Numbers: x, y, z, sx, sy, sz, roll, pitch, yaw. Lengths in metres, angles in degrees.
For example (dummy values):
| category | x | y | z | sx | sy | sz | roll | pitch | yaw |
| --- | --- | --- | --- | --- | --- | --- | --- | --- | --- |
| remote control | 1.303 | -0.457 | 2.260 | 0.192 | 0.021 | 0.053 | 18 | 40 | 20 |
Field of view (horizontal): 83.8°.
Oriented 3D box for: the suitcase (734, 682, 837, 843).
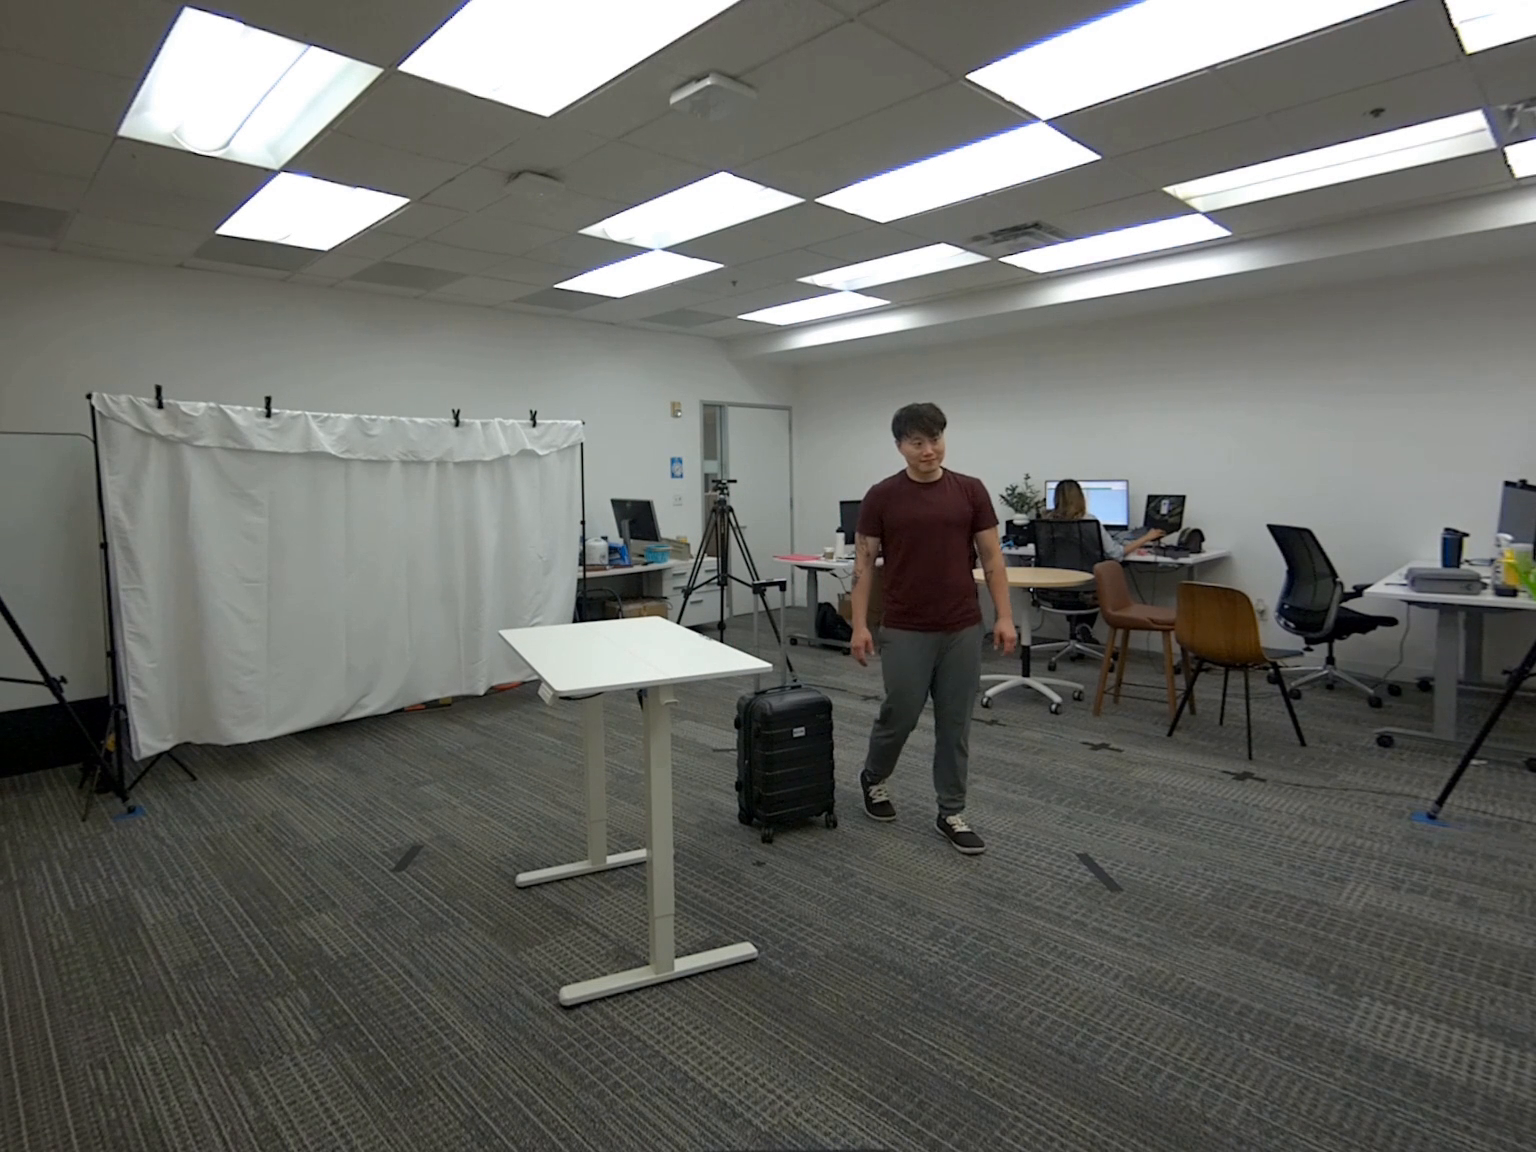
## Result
| category | x | y | z | sx | sy | sz | roll | pitch | yaw |
| --- | --- | --- | --- | --- | --- | --- | --- | --- | --- |
| suitcase | 0.069 | 0.527 | 3.447 | 0.376 | 0.974 | 0.263 | -3 | 5 | -24 |
